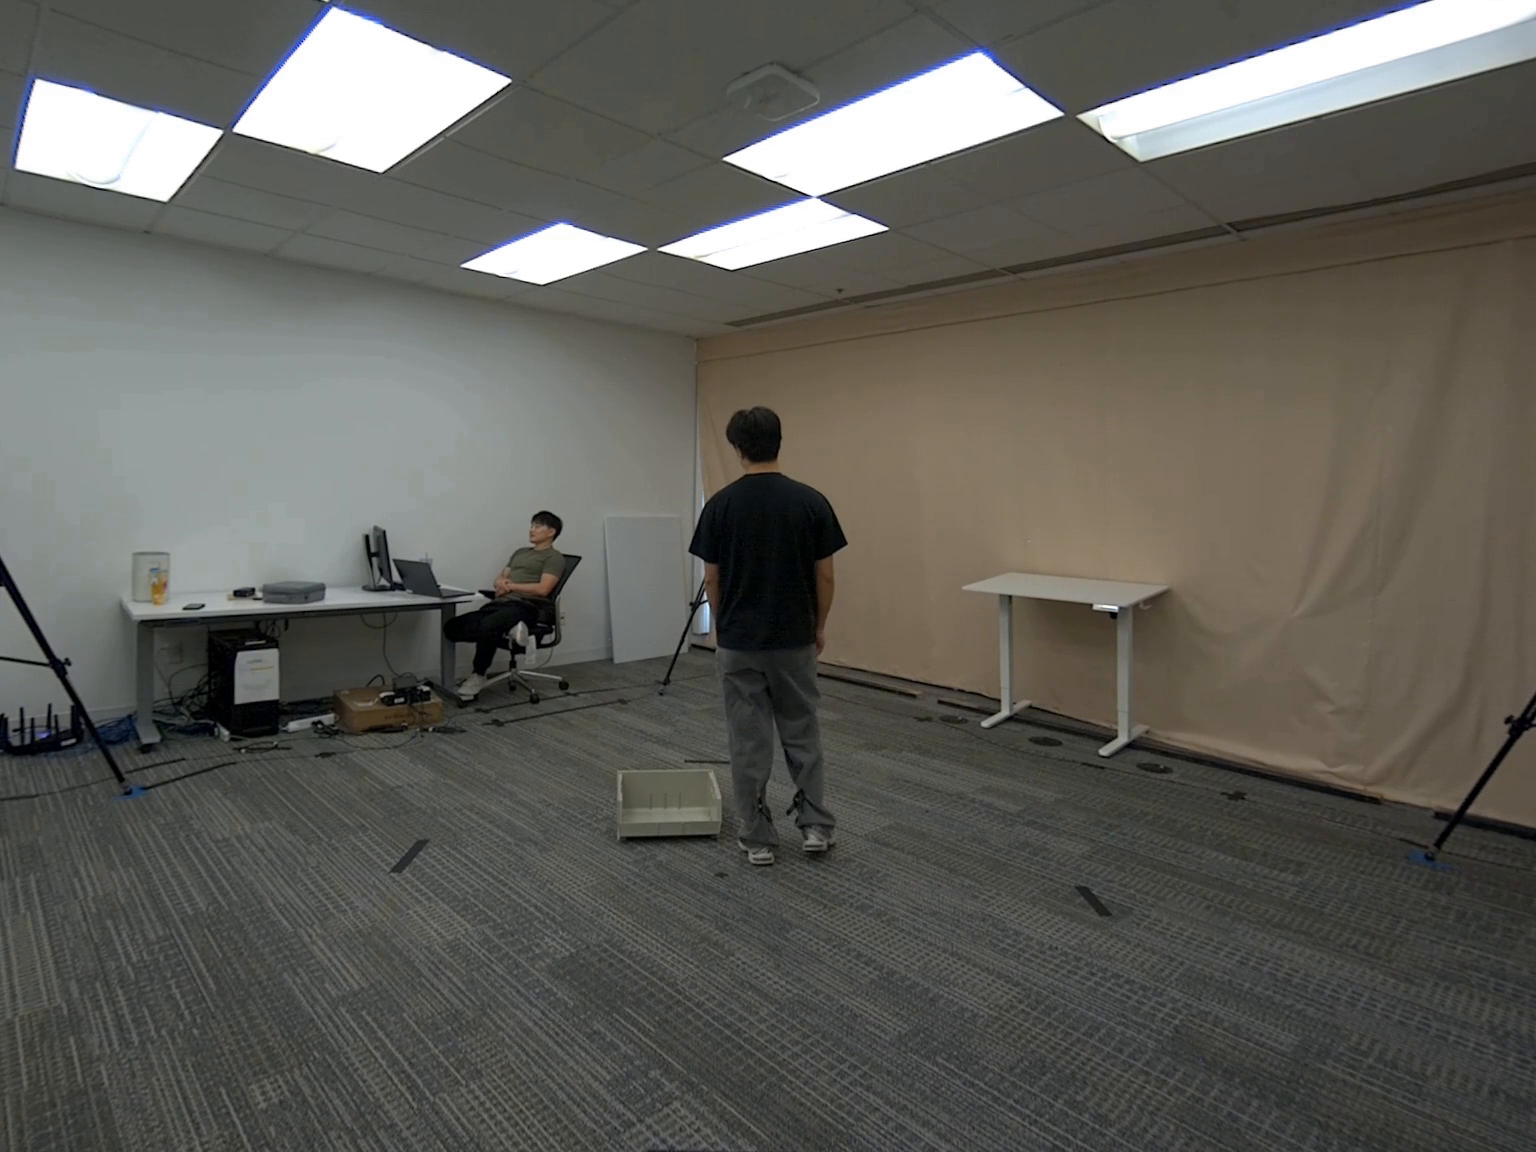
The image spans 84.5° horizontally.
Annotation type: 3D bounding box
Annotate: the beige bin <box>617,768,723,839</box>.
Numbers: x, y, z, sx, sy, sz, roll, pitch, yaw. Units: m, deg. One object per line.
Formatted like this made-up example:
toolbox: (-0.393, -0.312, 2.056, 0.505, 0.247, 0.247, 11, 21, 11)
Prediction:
beige bin: (-0.432, 0.970, 3.556, 0.419, 0.188, 0.381, 0, 5, -9)
